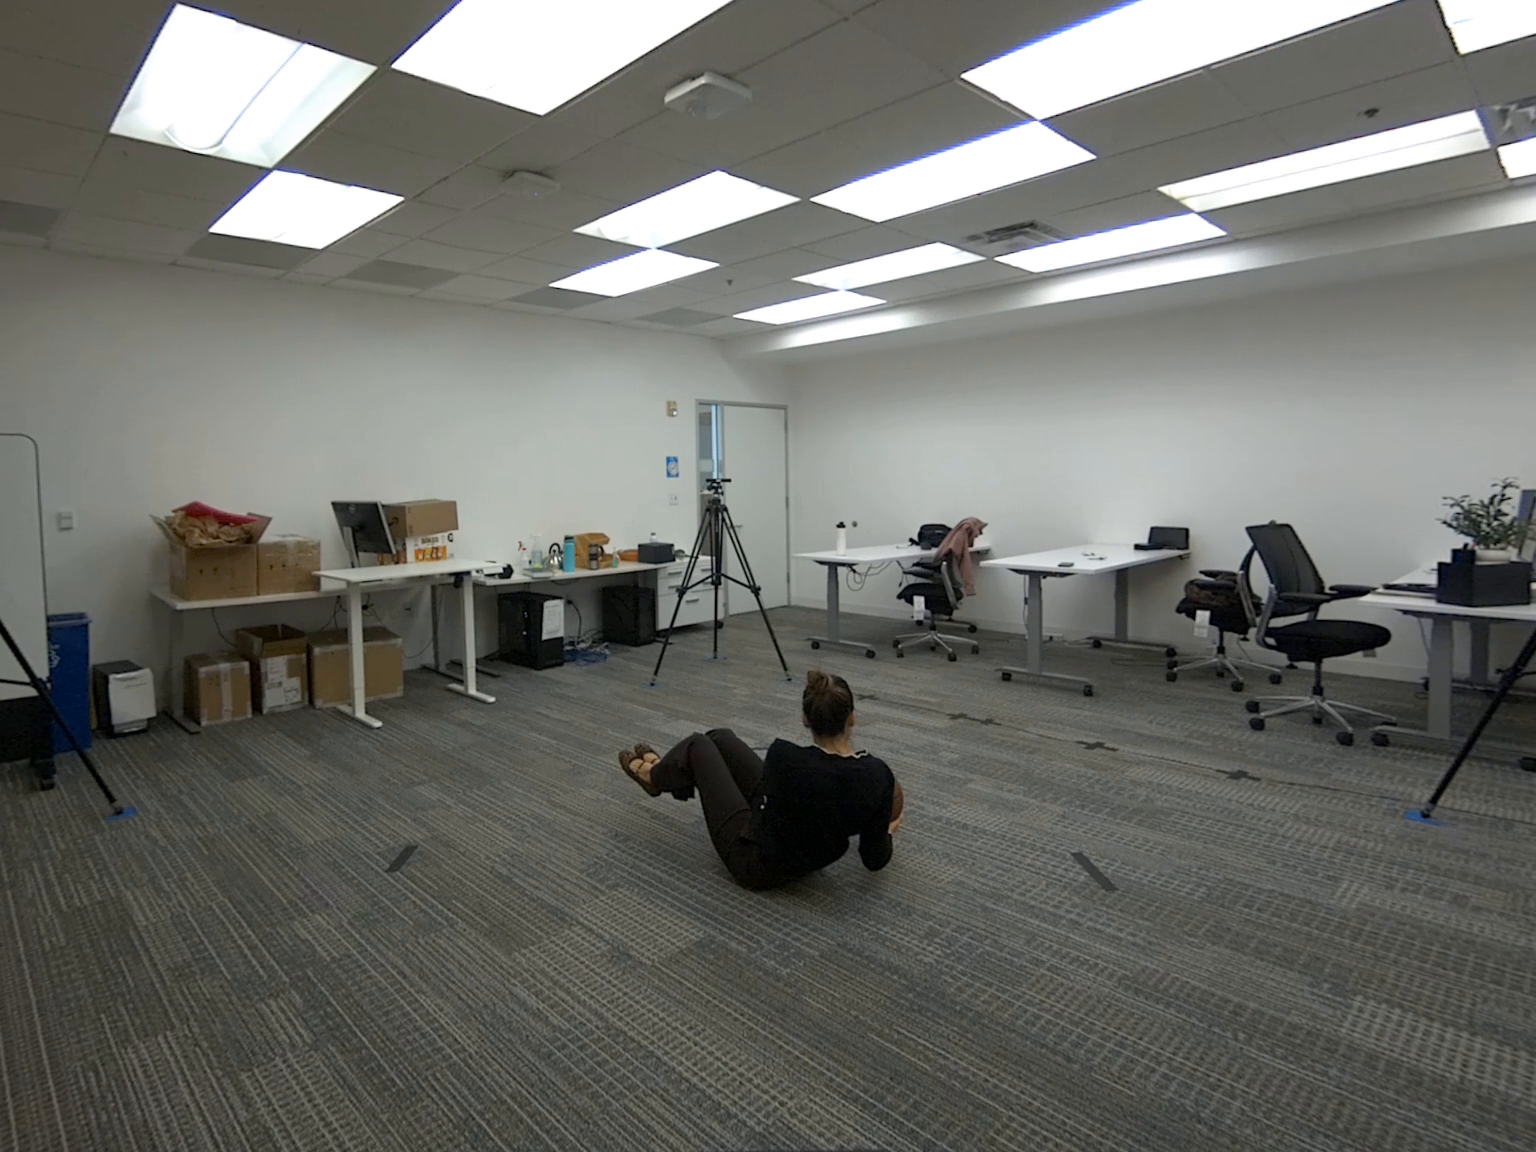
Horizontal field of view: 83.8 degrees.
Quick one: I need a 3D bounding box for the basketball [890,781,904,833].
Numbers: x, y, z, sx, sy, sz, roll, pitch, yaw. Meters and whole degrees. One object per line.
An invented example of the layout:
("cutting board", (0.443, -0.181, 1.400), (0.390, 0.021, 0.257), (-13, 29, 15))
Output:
("basketball", (0.387, 0.814, 3.207), (0.236, 0.235, 0.237), (-1, 5, -2))
